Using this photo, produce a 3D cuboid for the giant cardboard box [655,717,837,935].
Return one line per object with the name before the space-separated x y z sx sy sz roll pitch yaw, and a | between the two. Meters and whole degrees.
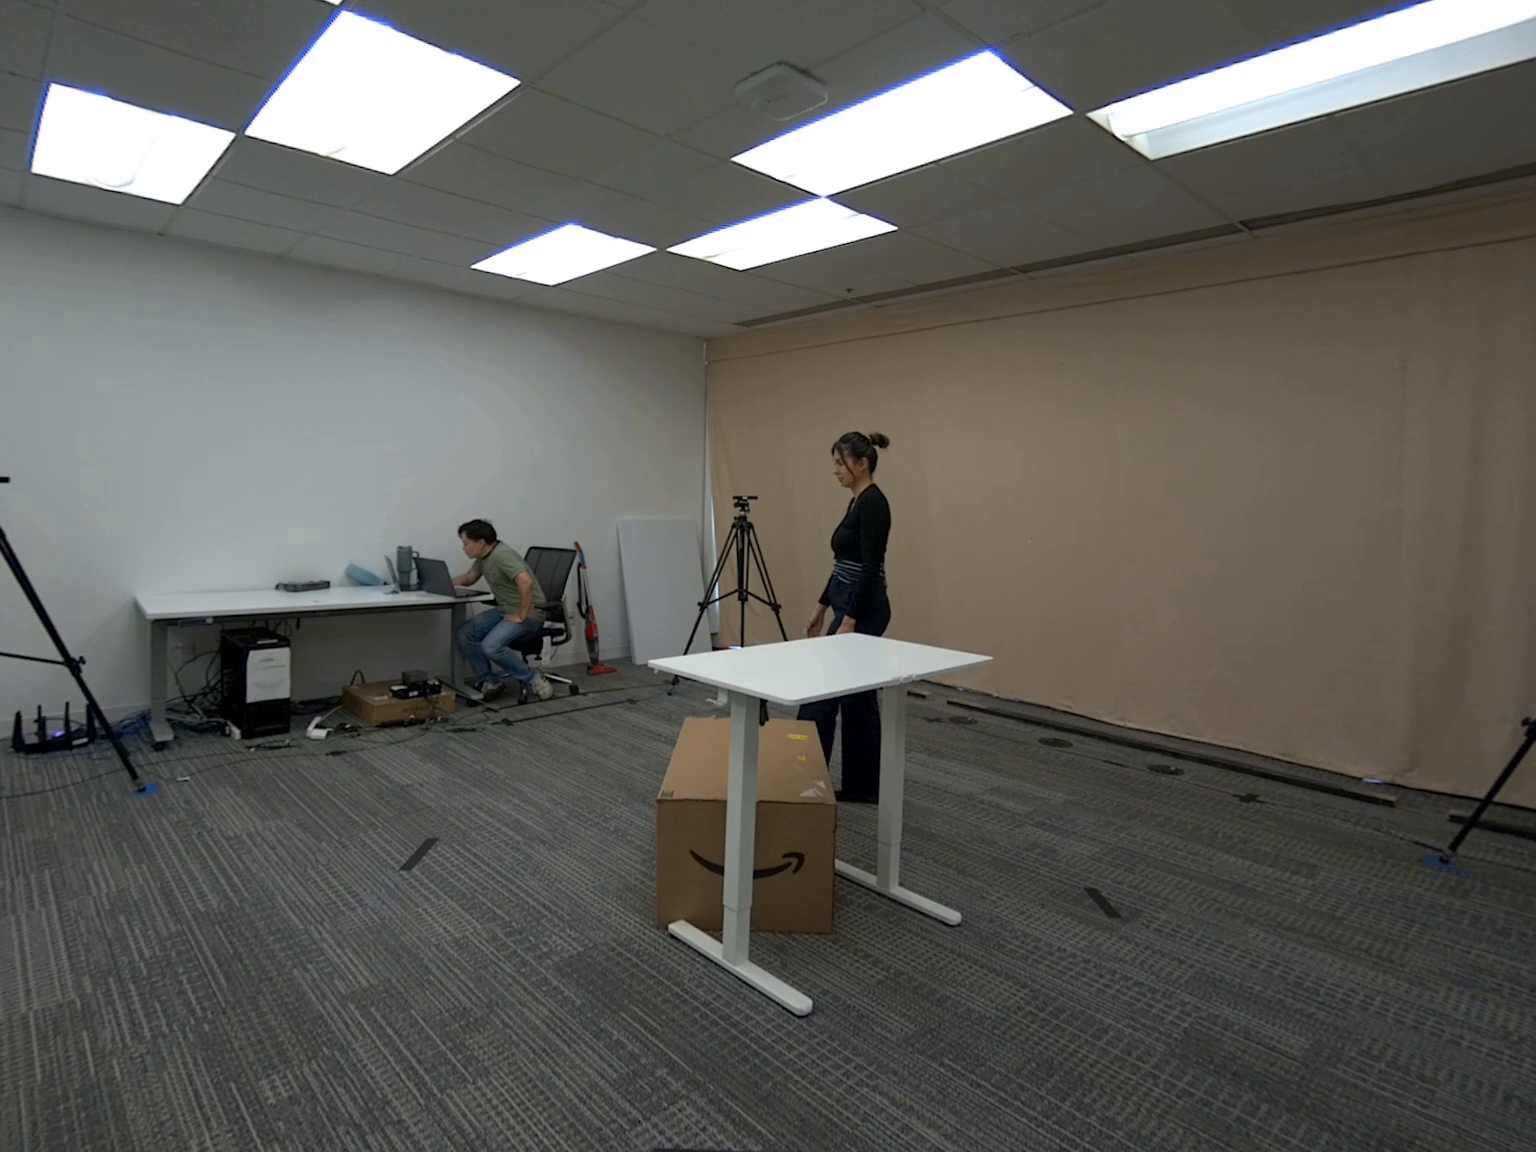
giant cardboard box | -0.088 0.881 3.197 0.578 0.425 1.028 2 5 -1
